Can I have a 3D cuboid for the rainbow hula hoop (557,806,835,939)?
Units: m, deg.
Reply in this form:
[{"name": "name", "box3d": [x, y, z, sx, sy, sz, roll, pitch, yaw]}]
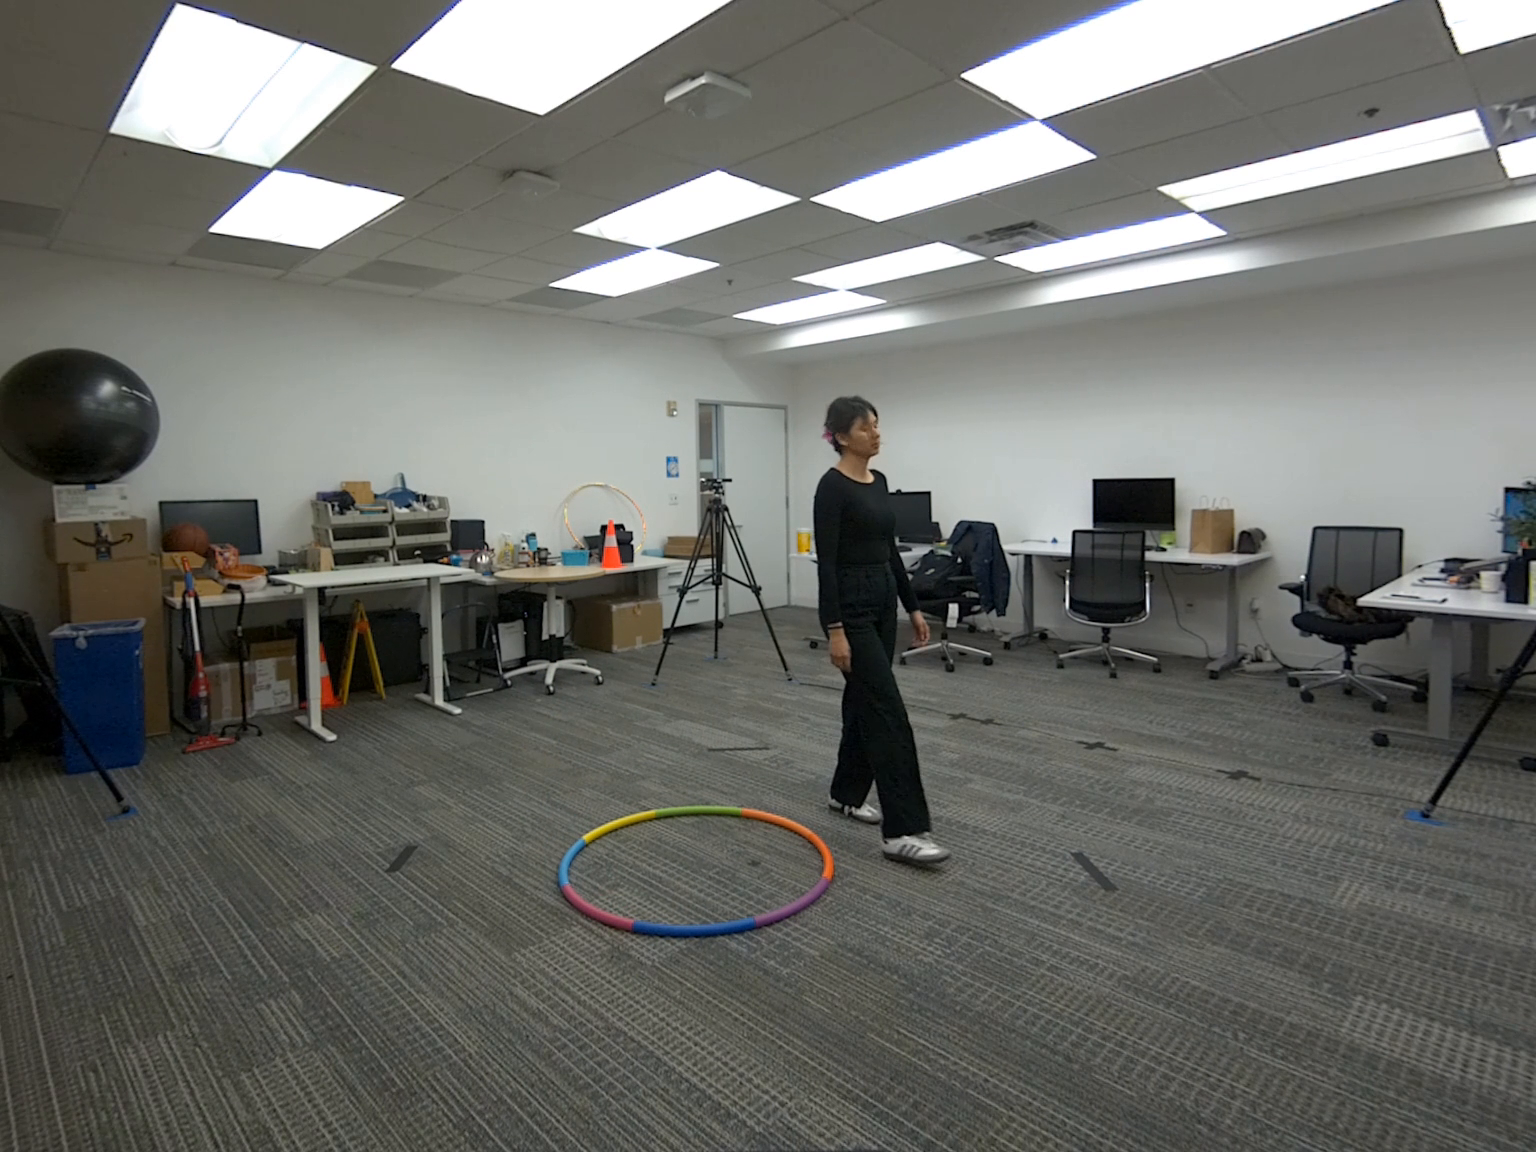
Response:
[{"name": "rainbow hula hoop", "box3d": [-0.257, 1.021, 3.097, 0.978, 0.035, 0.984, -1, 7, -2]}]
